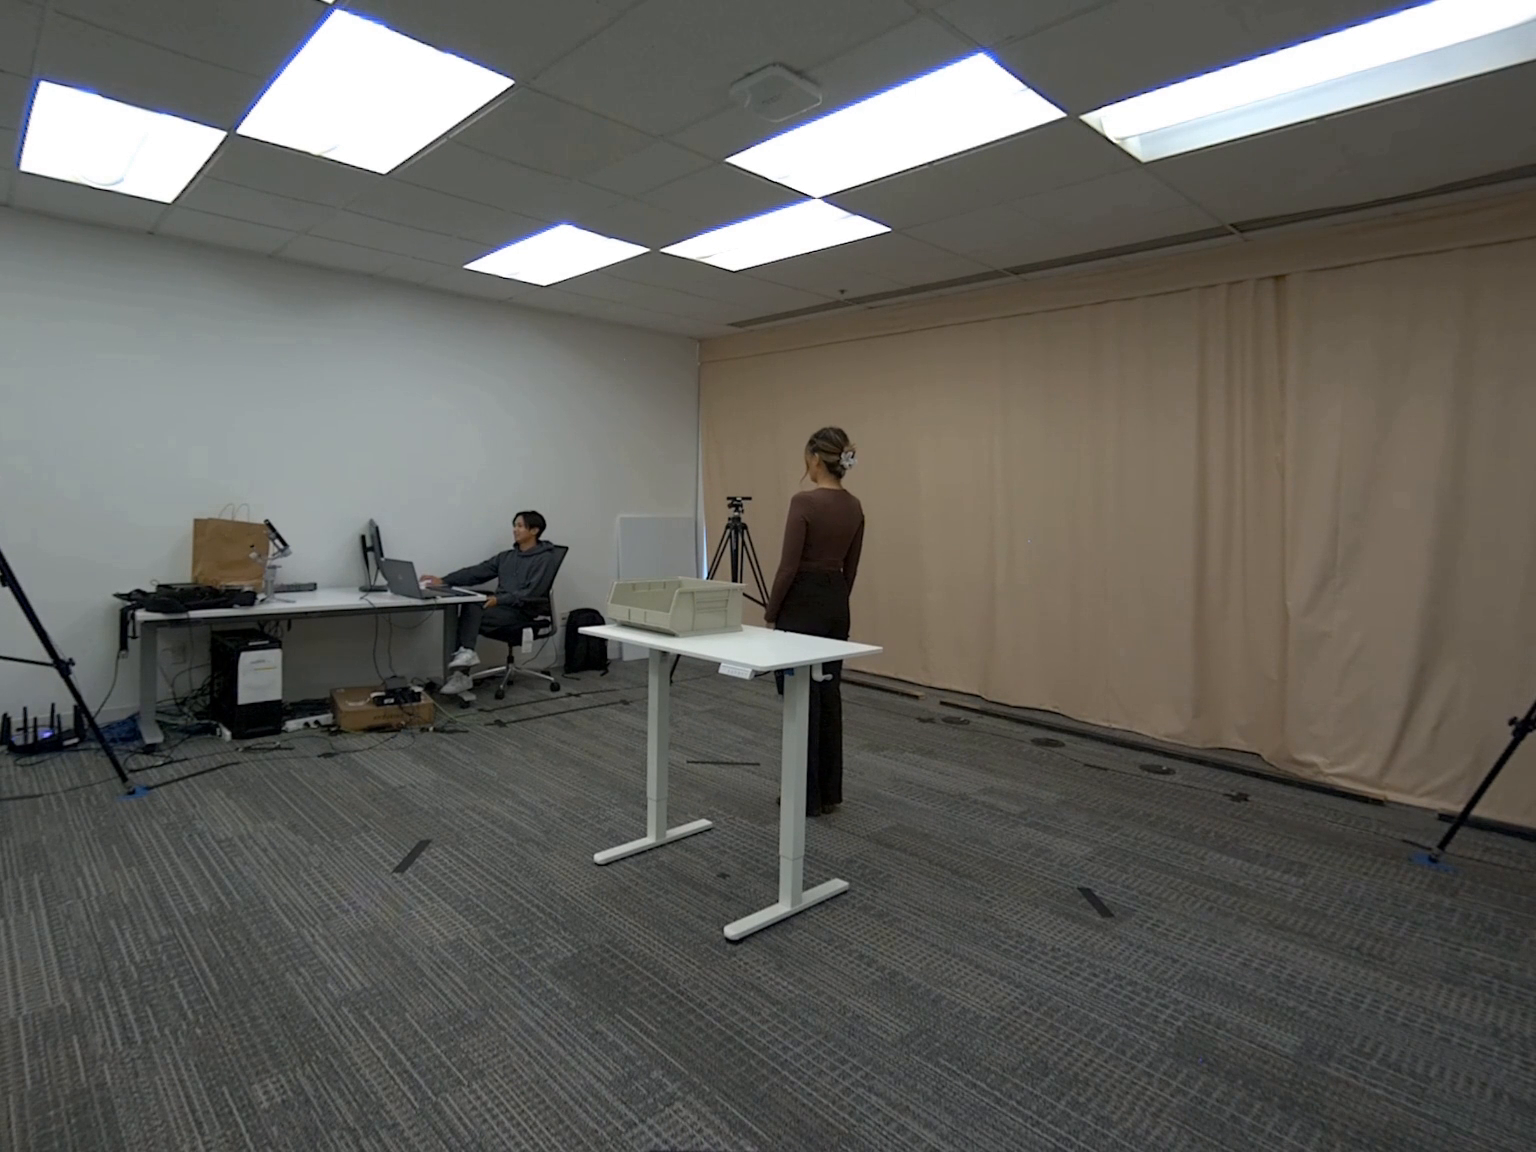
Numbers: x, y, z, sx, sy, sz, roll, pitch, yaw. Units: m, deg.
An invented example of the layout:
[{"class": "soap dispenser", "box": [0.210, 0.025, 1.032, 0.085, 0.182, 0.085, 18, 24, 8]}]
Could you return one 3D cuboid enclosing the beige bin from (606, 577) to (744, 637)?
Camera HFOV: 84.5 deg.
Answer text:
[{"class": "beige bin", "box": [-0.369, 0.118, 3.280, 0.368, 0.189, 0.433, -1, 4, -44]}]
